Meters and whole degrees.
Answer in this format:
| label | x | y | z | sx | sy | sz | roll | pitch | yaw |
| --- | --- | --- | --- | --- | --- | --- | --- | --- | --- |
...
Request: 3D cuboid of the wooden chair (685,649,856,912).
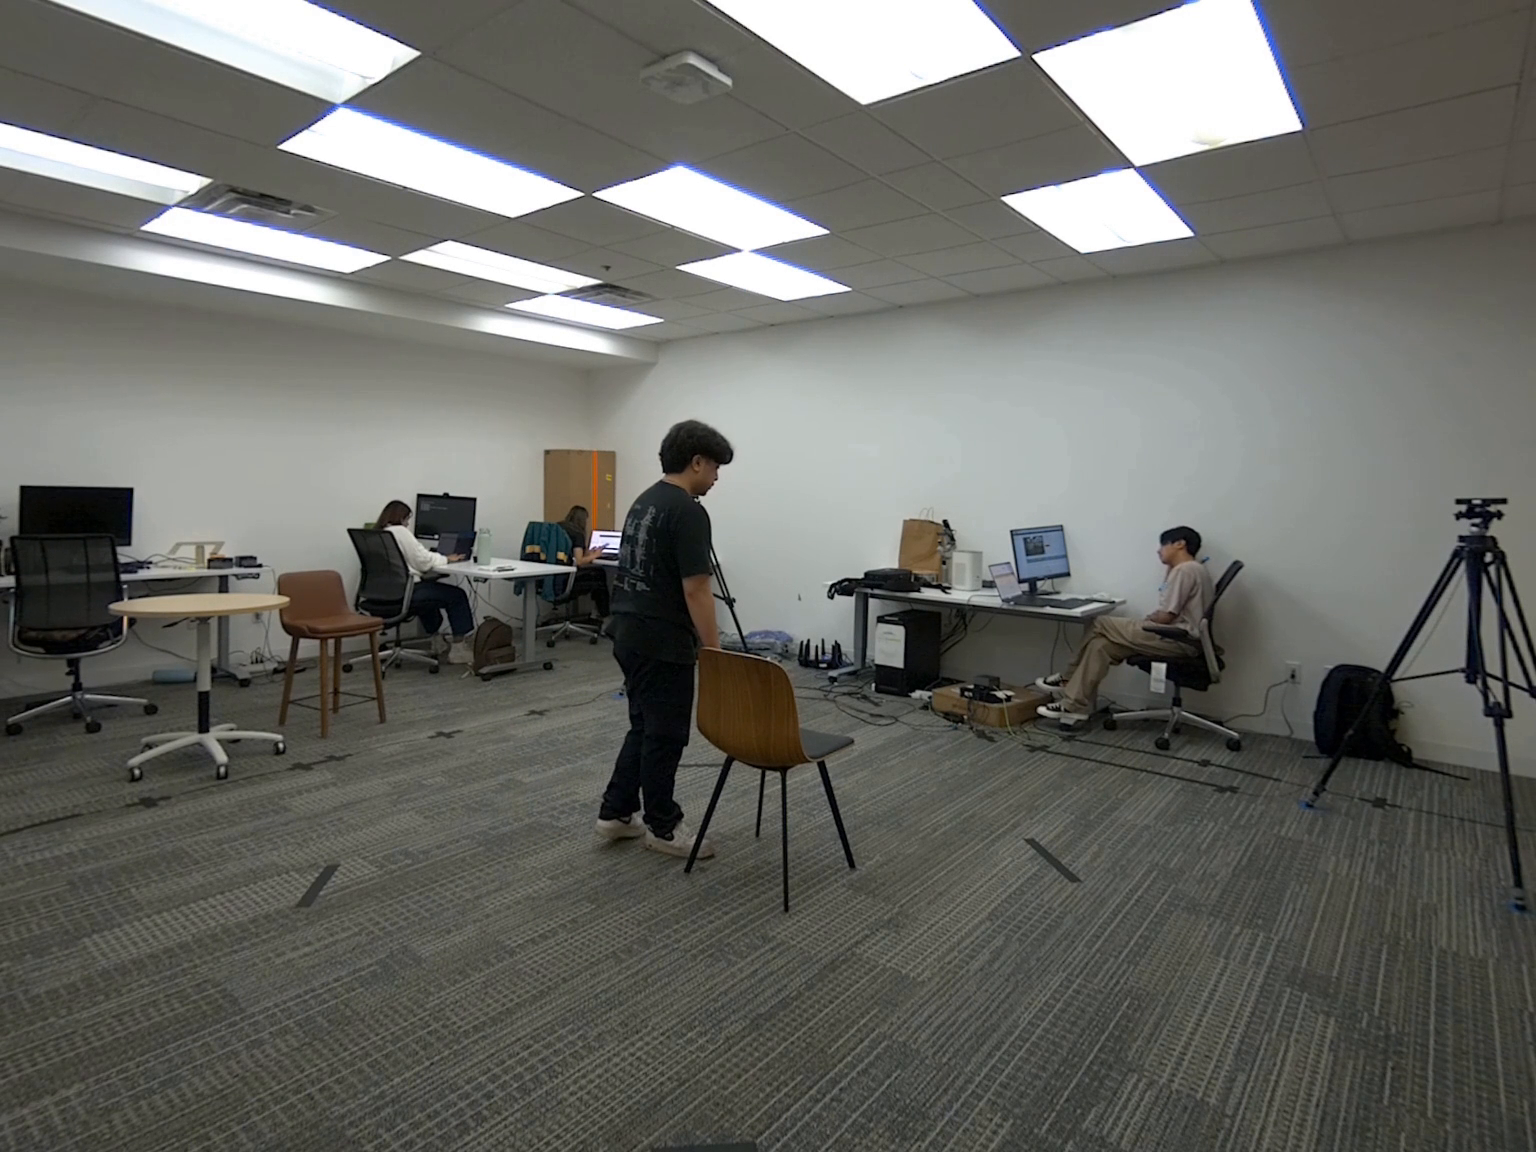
| label | x | y | z | sx | sy | sz | roll | pitch | yaw |
| --- | --- | --- | --- | --- | --- | --- | --- | --- | --- |
| wooden chair | 0.014 | 0.648 | 3.088 | 0.494 | 0.872 | 0.510 | 3 | 8 | 37 |
